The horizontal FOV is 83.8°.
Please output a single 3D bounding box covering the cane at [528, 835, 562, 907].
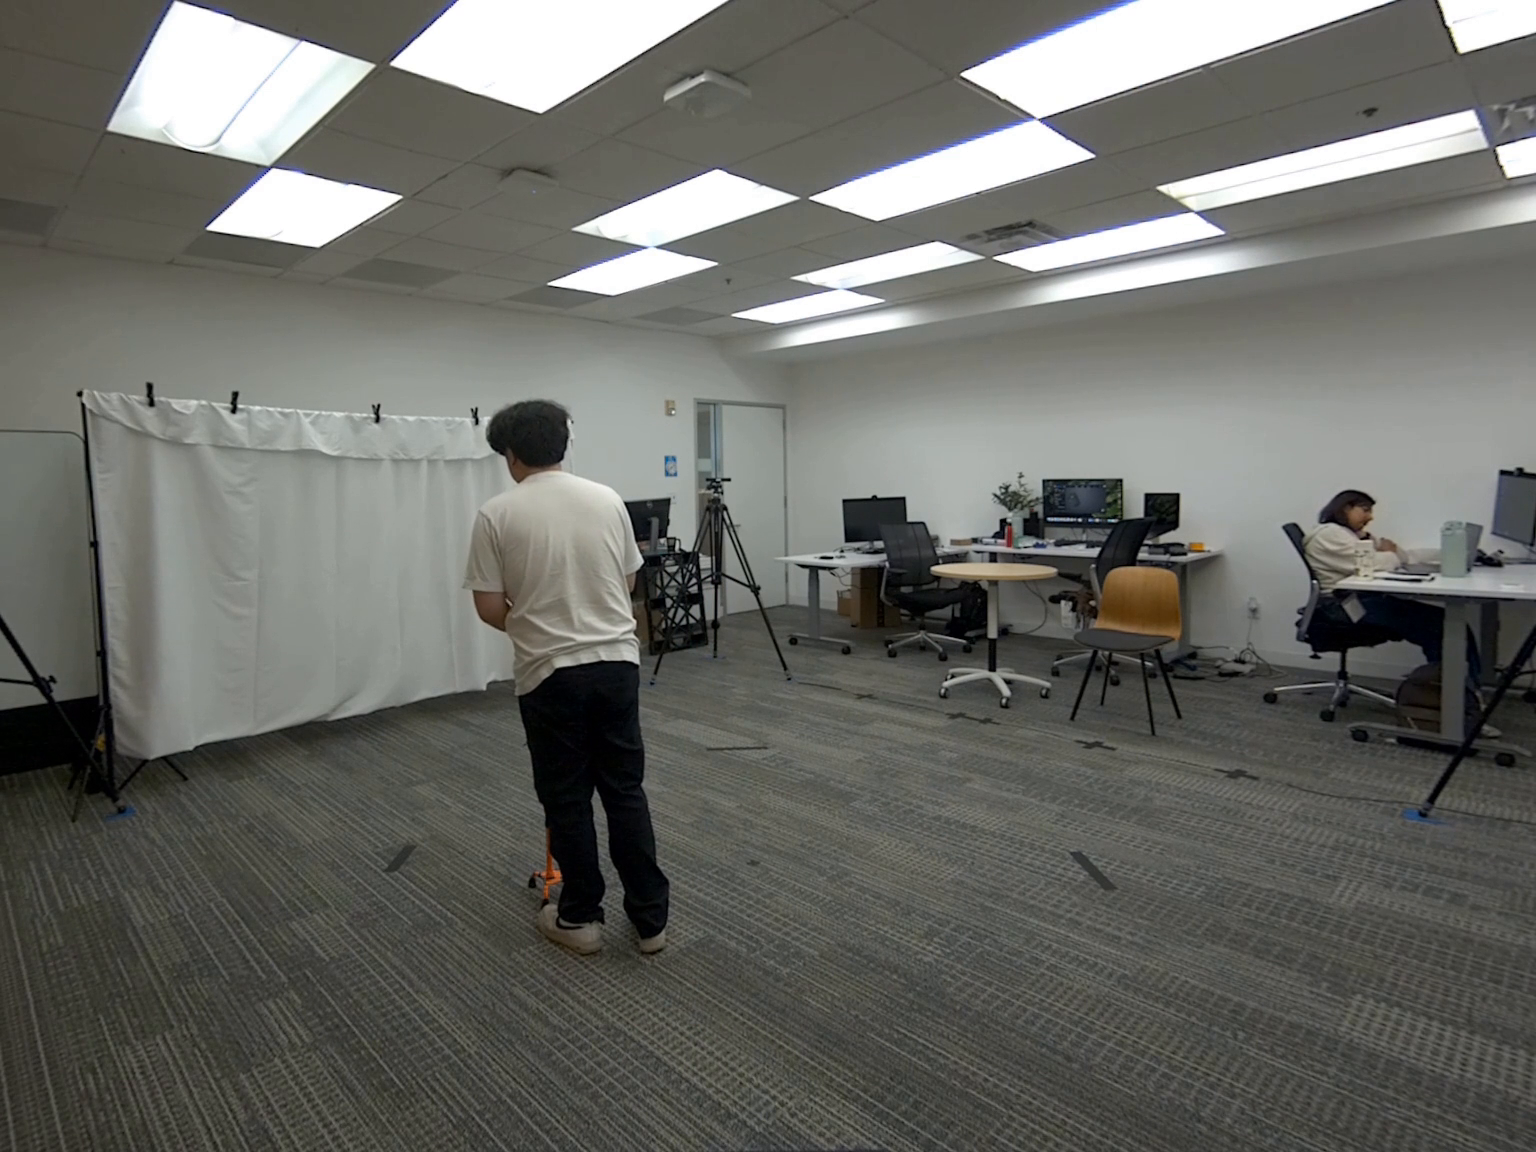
[{"bbox_3d":[-0.725,0.630,2.881,0.148,0.905,0.212,-3,3,-28],"label":"cane"}]
